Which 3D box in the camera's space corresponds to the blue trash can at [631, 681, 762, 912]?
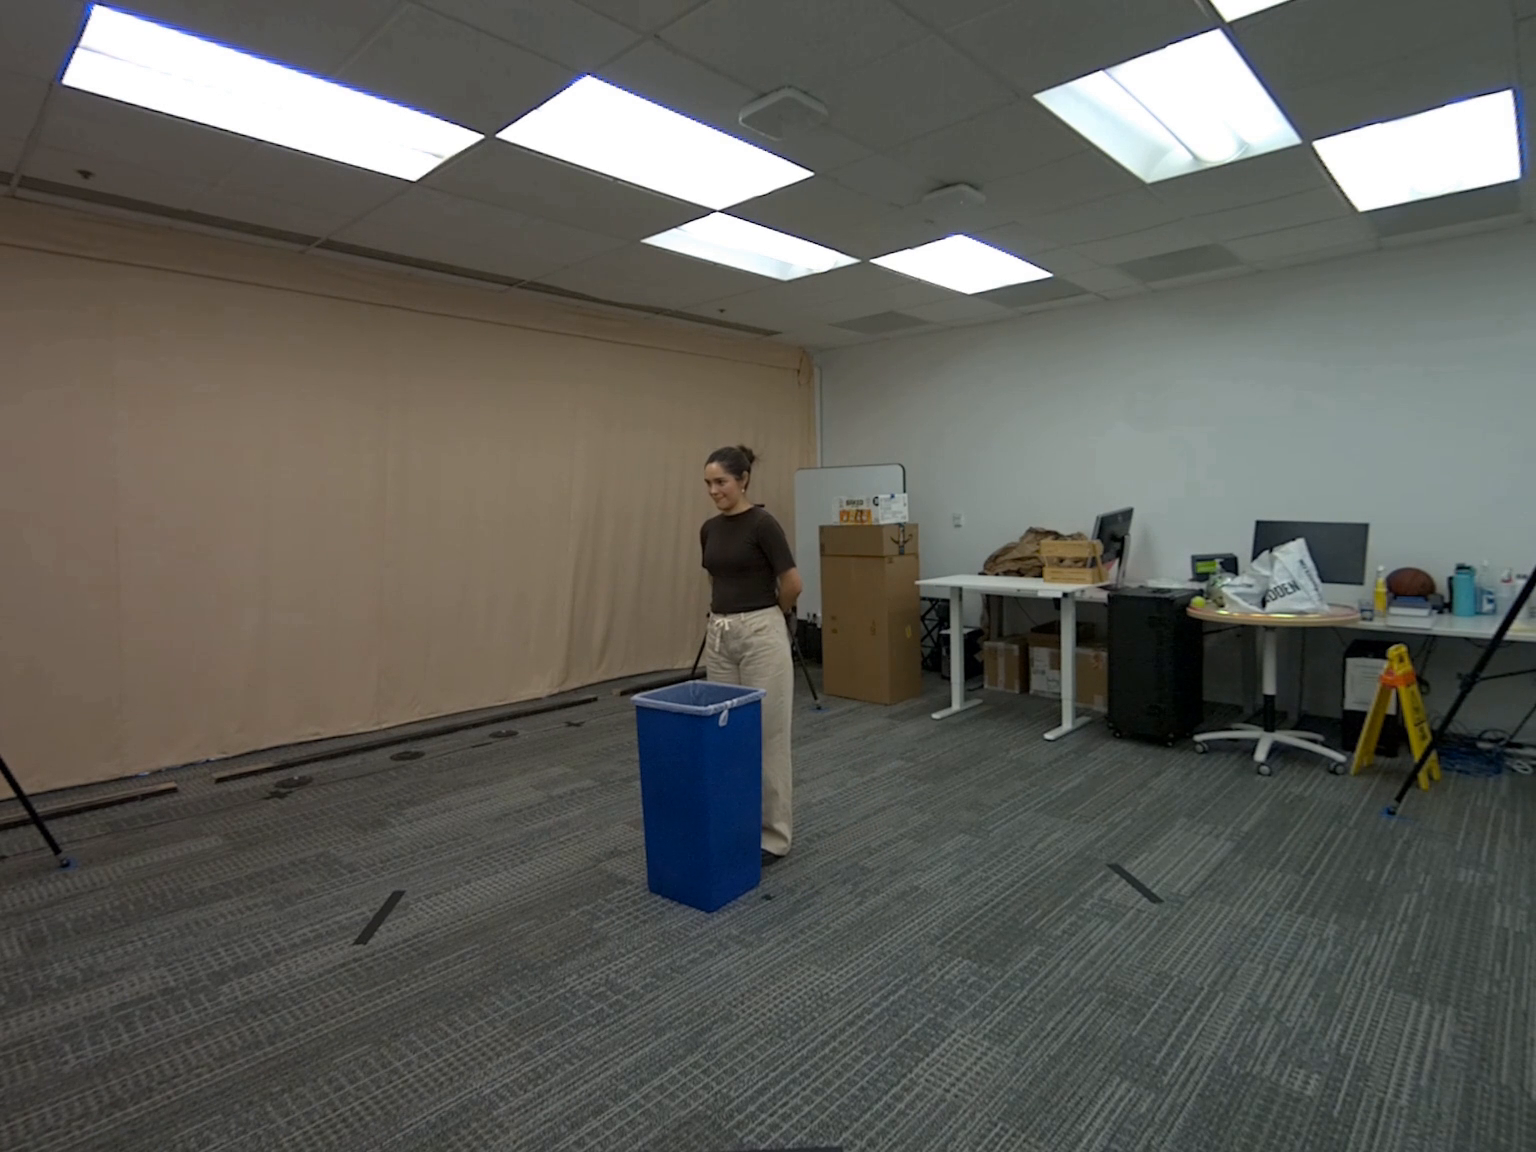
[{"bbox_3d":[-0.241,0.779,3.068,0.390,0.712,0.363,1,4,37],"label":"blue trash can"}]
